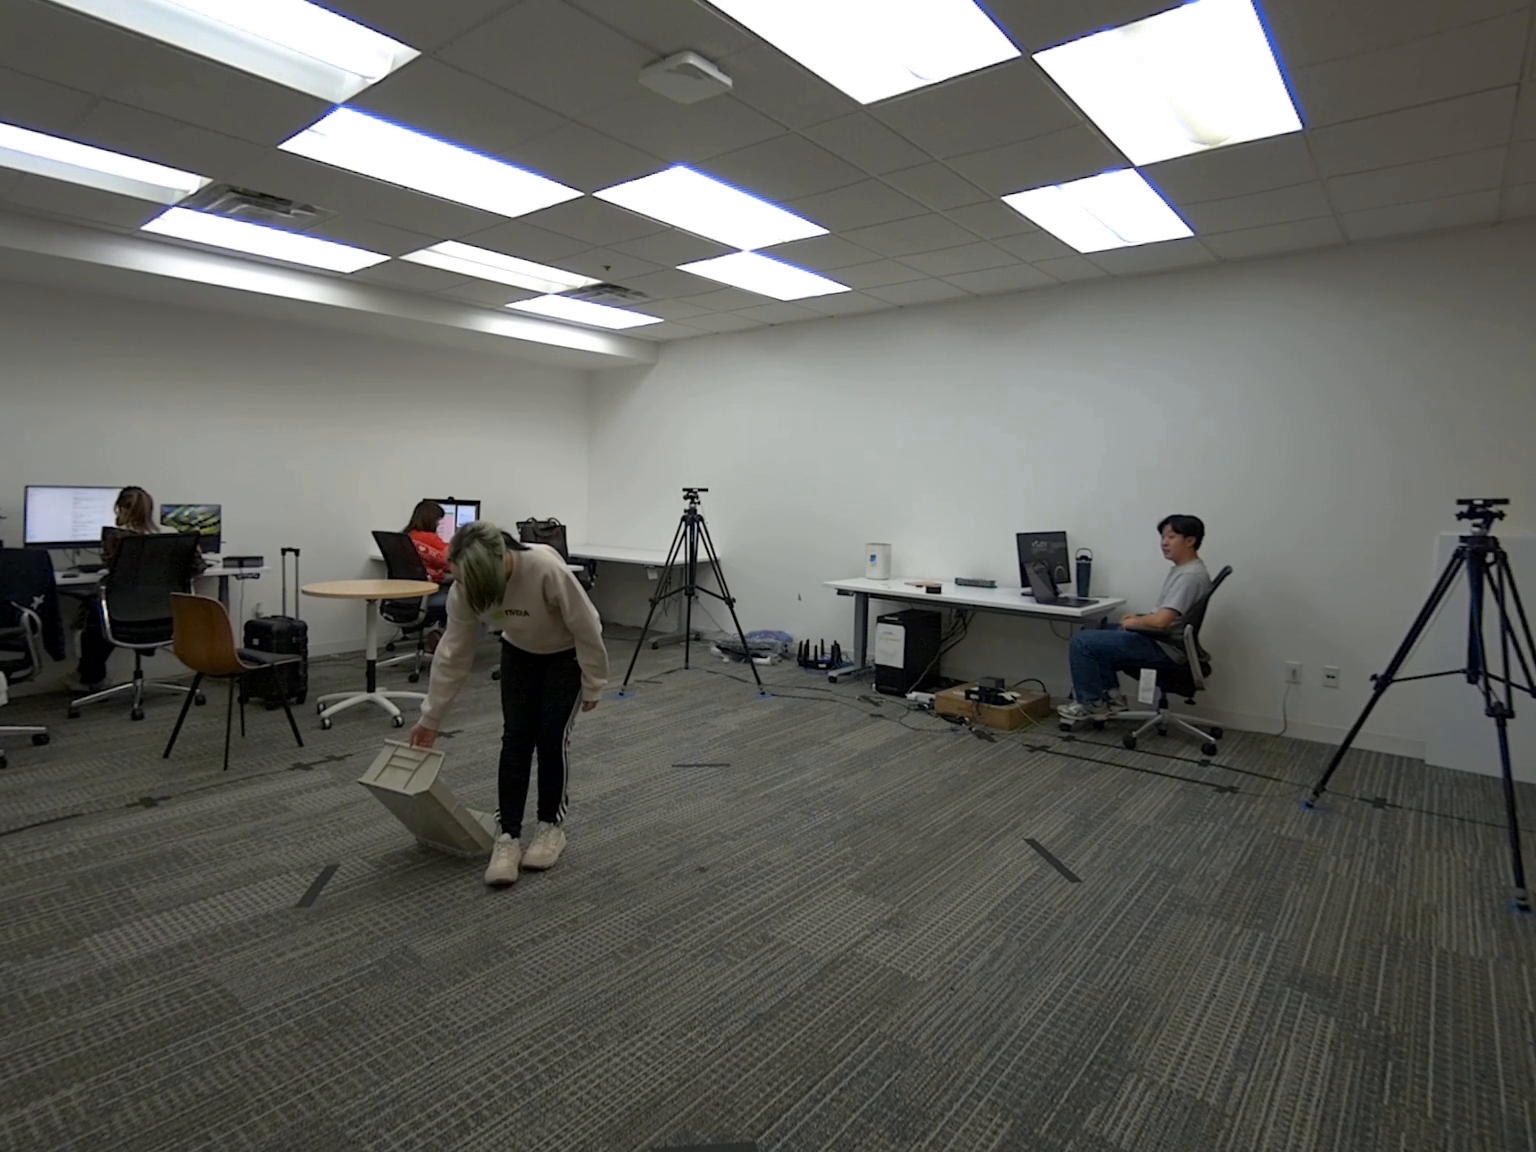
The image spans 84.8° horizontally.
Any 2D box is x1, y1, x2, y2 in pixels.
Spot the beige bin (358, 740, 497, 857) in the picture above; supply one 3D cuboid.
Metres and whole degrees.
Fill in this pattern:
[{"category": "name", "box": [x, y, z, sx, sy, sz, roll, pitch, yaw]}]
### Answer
[{"category": "beige bin", "box": [-1.254, 0.829, 3.147, 0.388, 0.407, 0.191, 1, 43, 30]}]
